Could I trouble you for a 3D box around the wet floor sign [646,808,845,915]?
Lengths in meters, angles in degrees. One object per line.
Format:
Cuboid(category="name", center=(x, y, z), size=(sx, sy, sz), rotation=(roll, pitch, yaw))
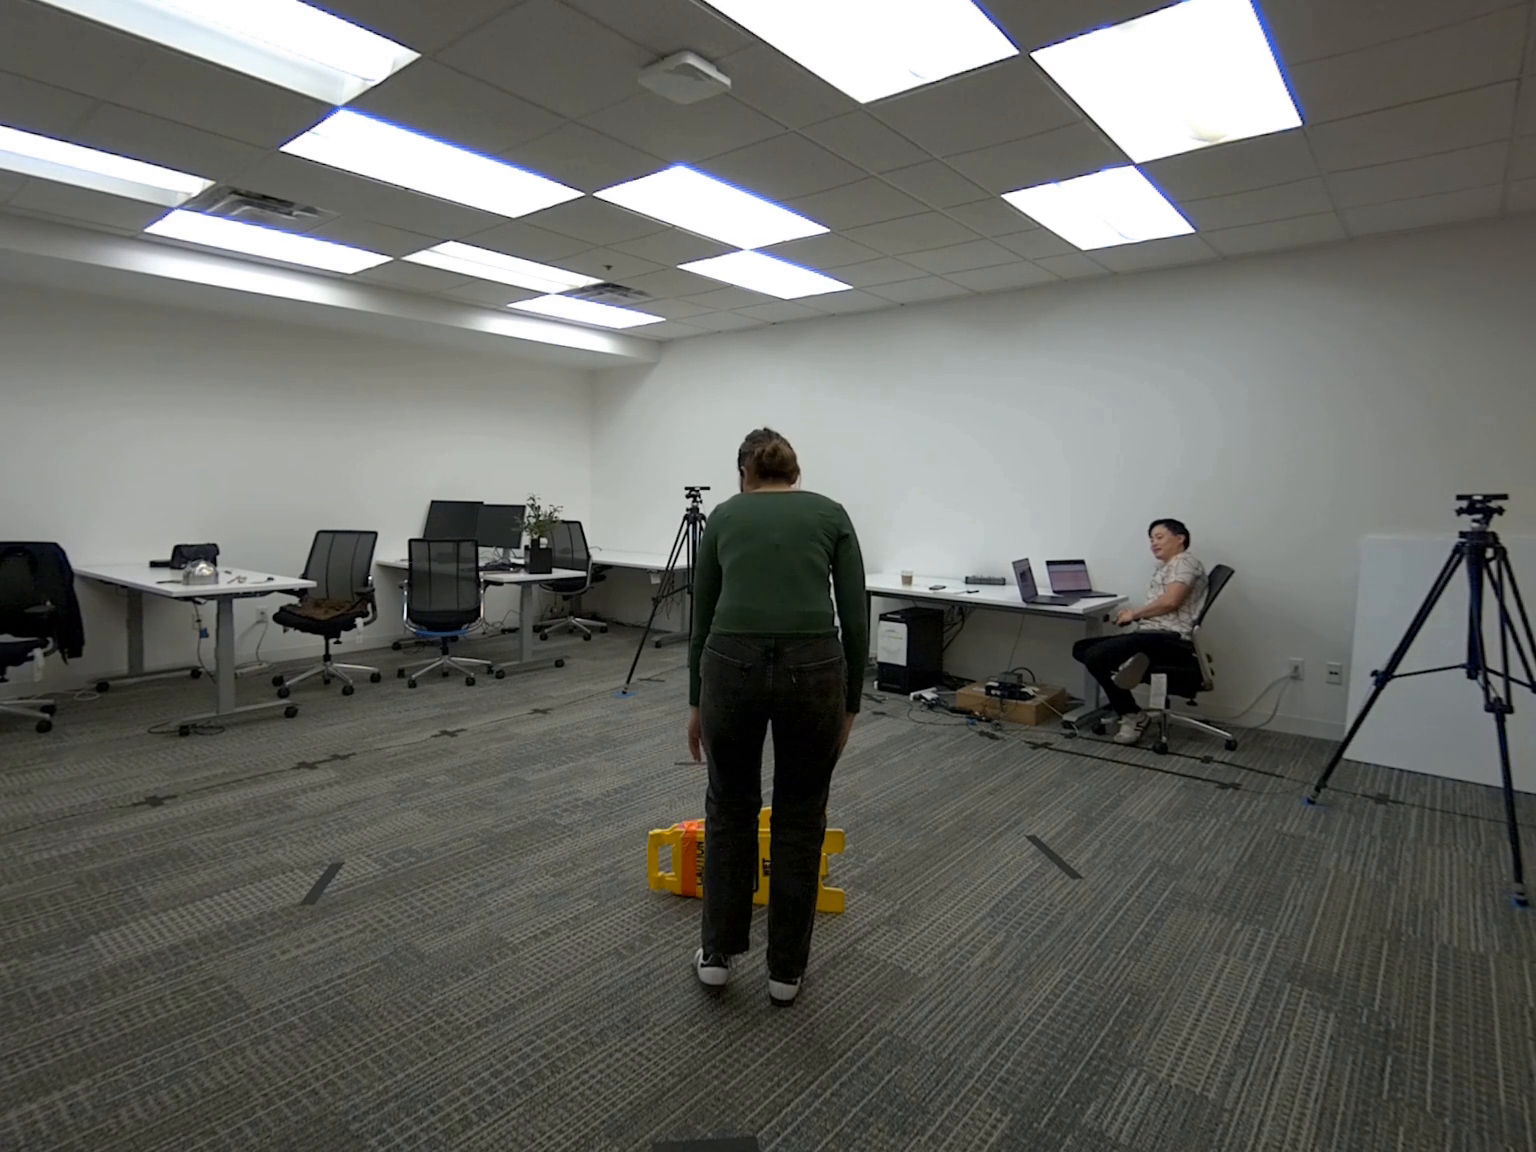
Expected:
Cuboid(category="wet floor sign", center=(-0.104, 0.954, 2.906), size=(0.643, 0.281, 0.292), rotation=(-2, 5, -5))
